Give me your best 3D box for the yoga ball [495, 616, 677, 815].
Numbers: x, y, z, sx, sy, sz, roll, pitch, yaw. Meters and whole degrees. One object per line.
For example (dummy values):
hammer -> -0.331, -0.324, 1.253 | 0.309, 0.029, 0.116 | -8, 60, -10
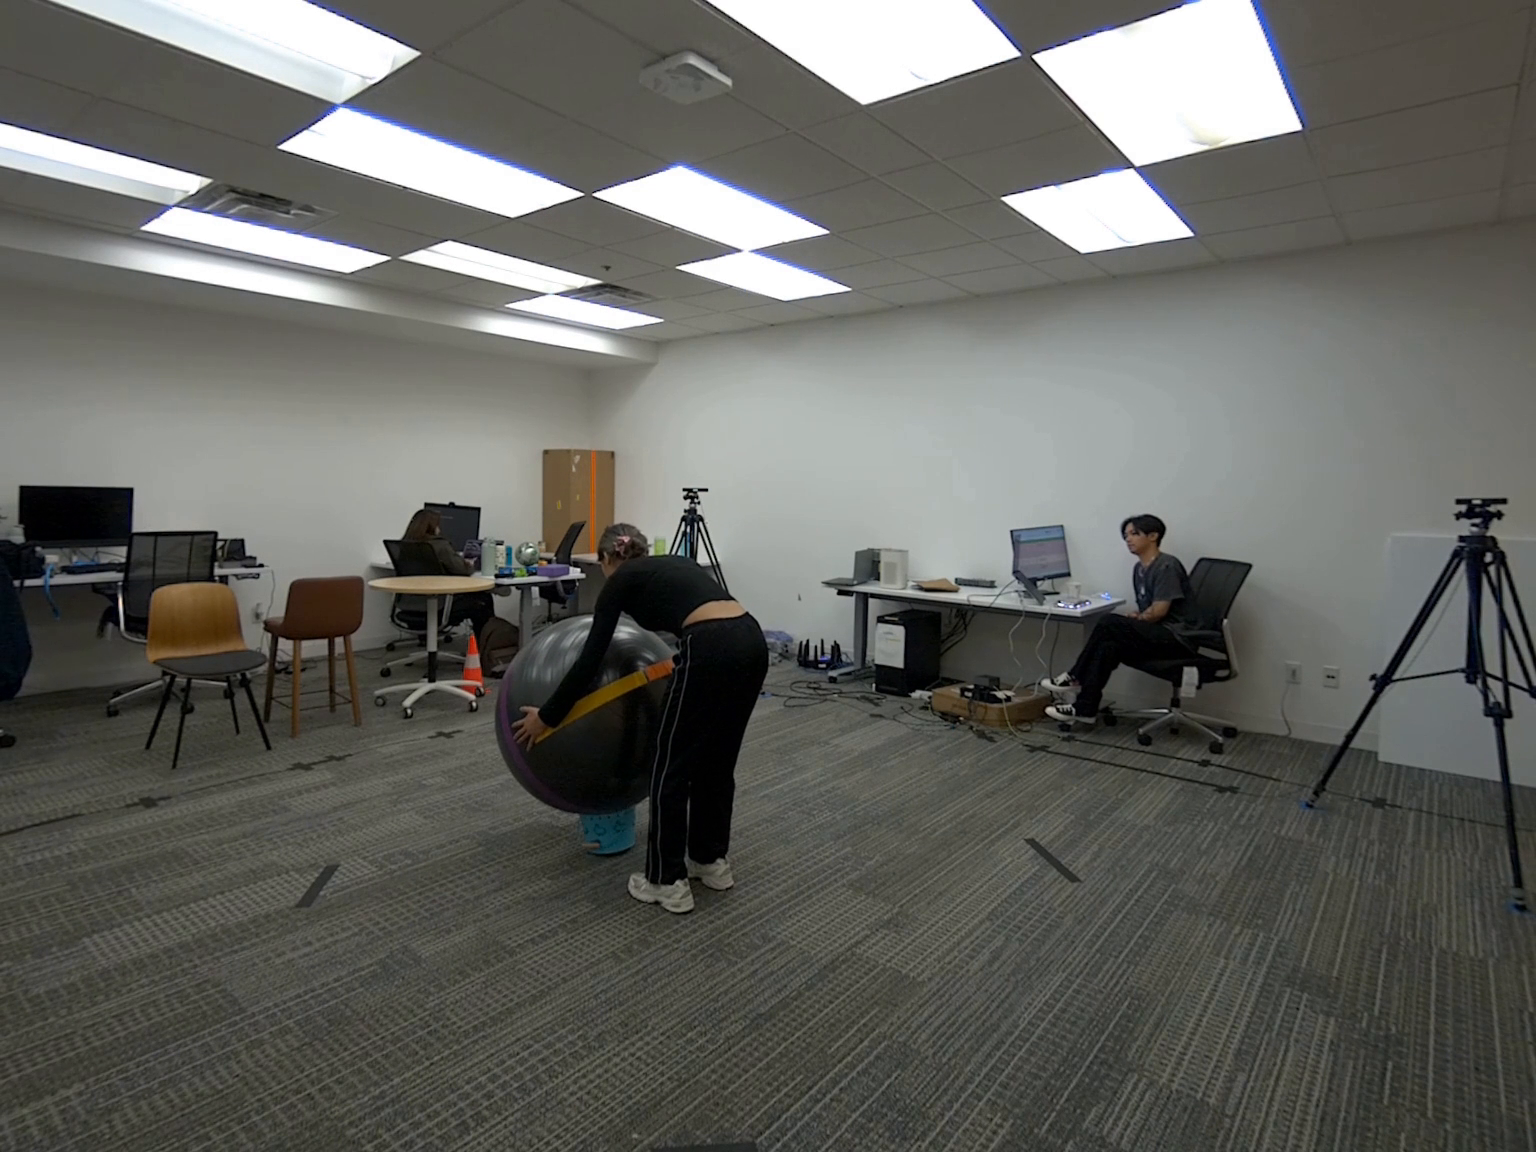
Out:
yoga ball -> -0.688, 0.534, 3.303 | 0.757, 0.755, 0.762 | 1, 4, -2
